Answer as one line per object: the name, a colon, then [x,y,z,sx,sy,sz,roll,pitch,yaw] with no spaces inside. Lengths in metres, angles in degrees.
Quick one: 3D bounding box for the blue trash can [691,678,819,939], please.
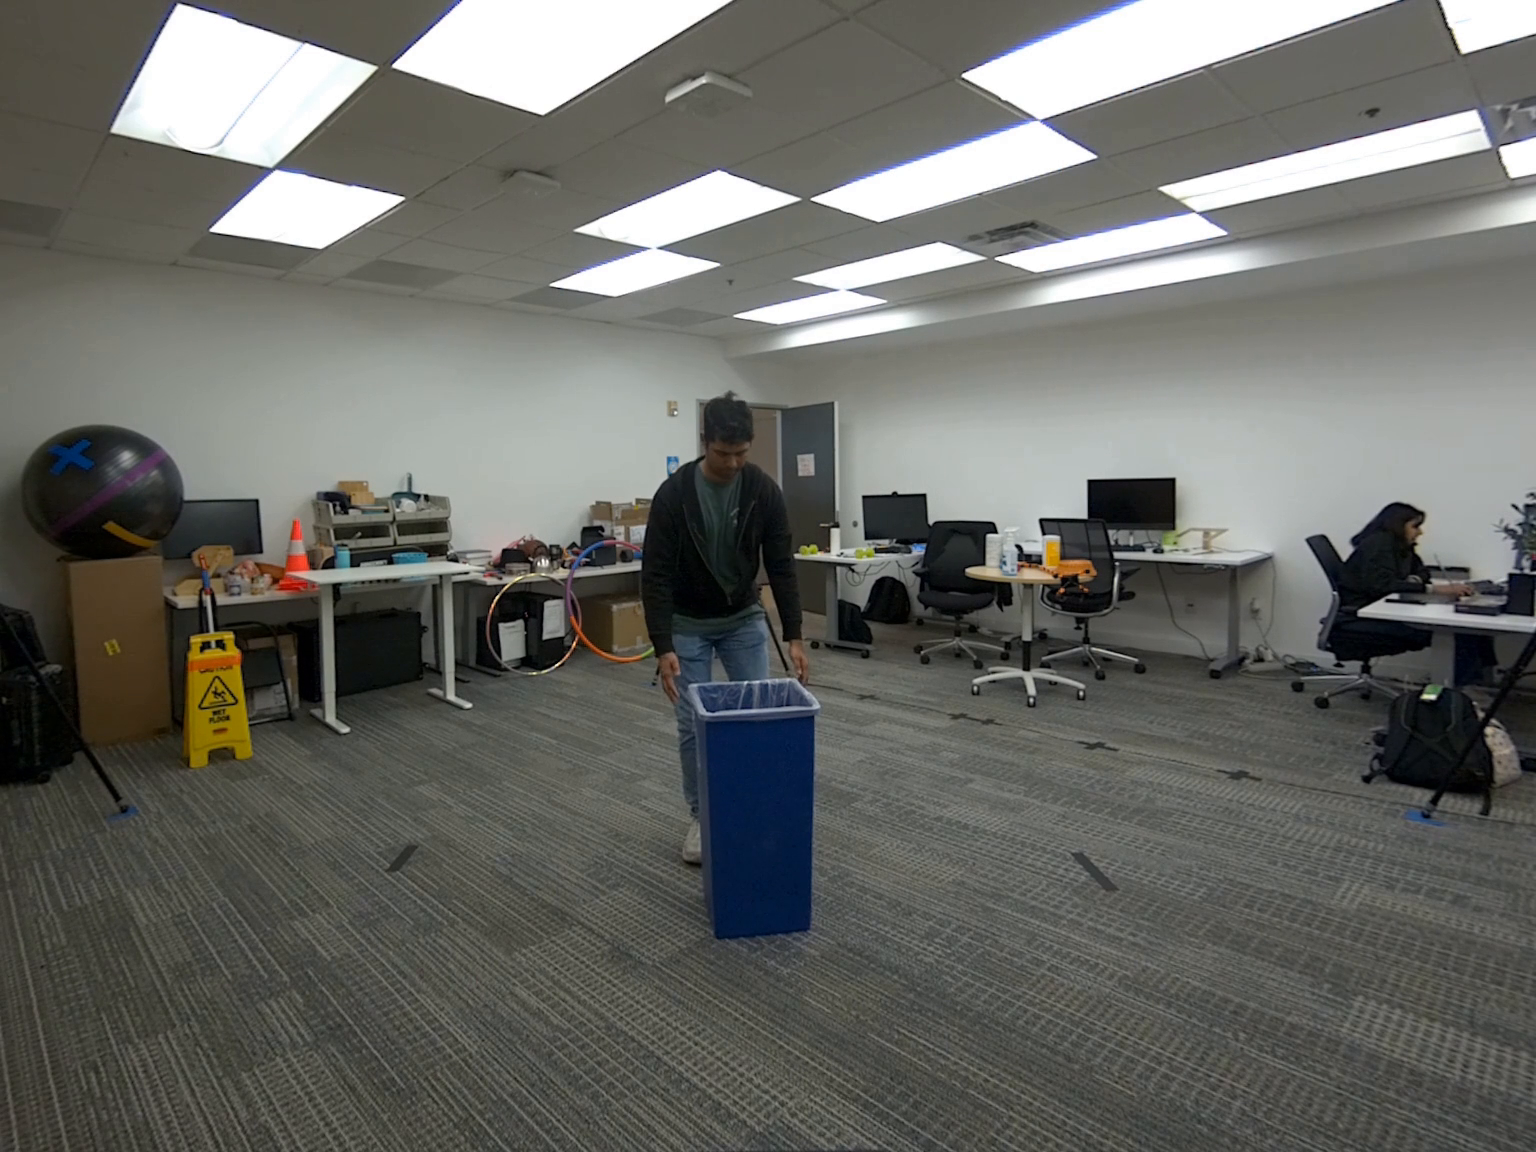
blue trash can: [-0.041,0.738,2.725,0.375,0.709,0.379,-2,6,-10]
